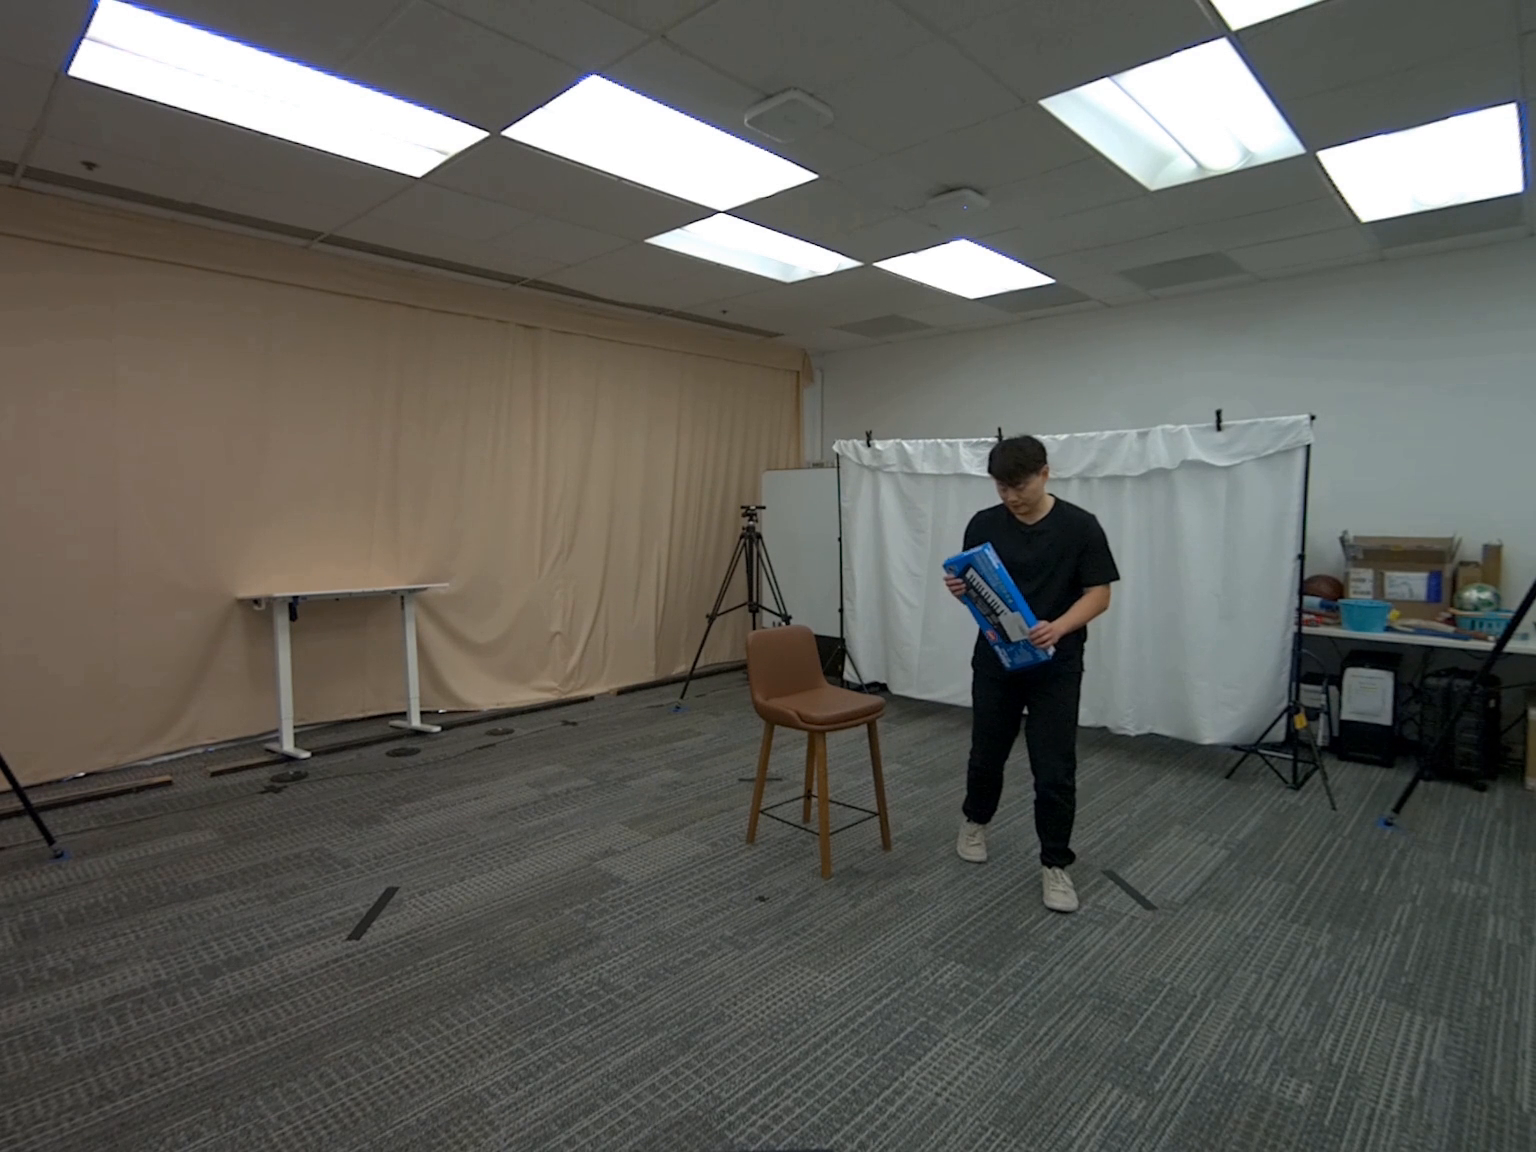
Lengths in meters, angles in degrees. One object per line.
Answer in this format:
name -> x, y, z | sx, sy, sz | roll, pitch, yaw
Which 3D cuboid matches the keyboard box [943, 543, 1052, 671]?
keyboard box -> 0.785, 0.109, 2.860 | 0.179, 0.435, 0.058 | -29, 5, 45
